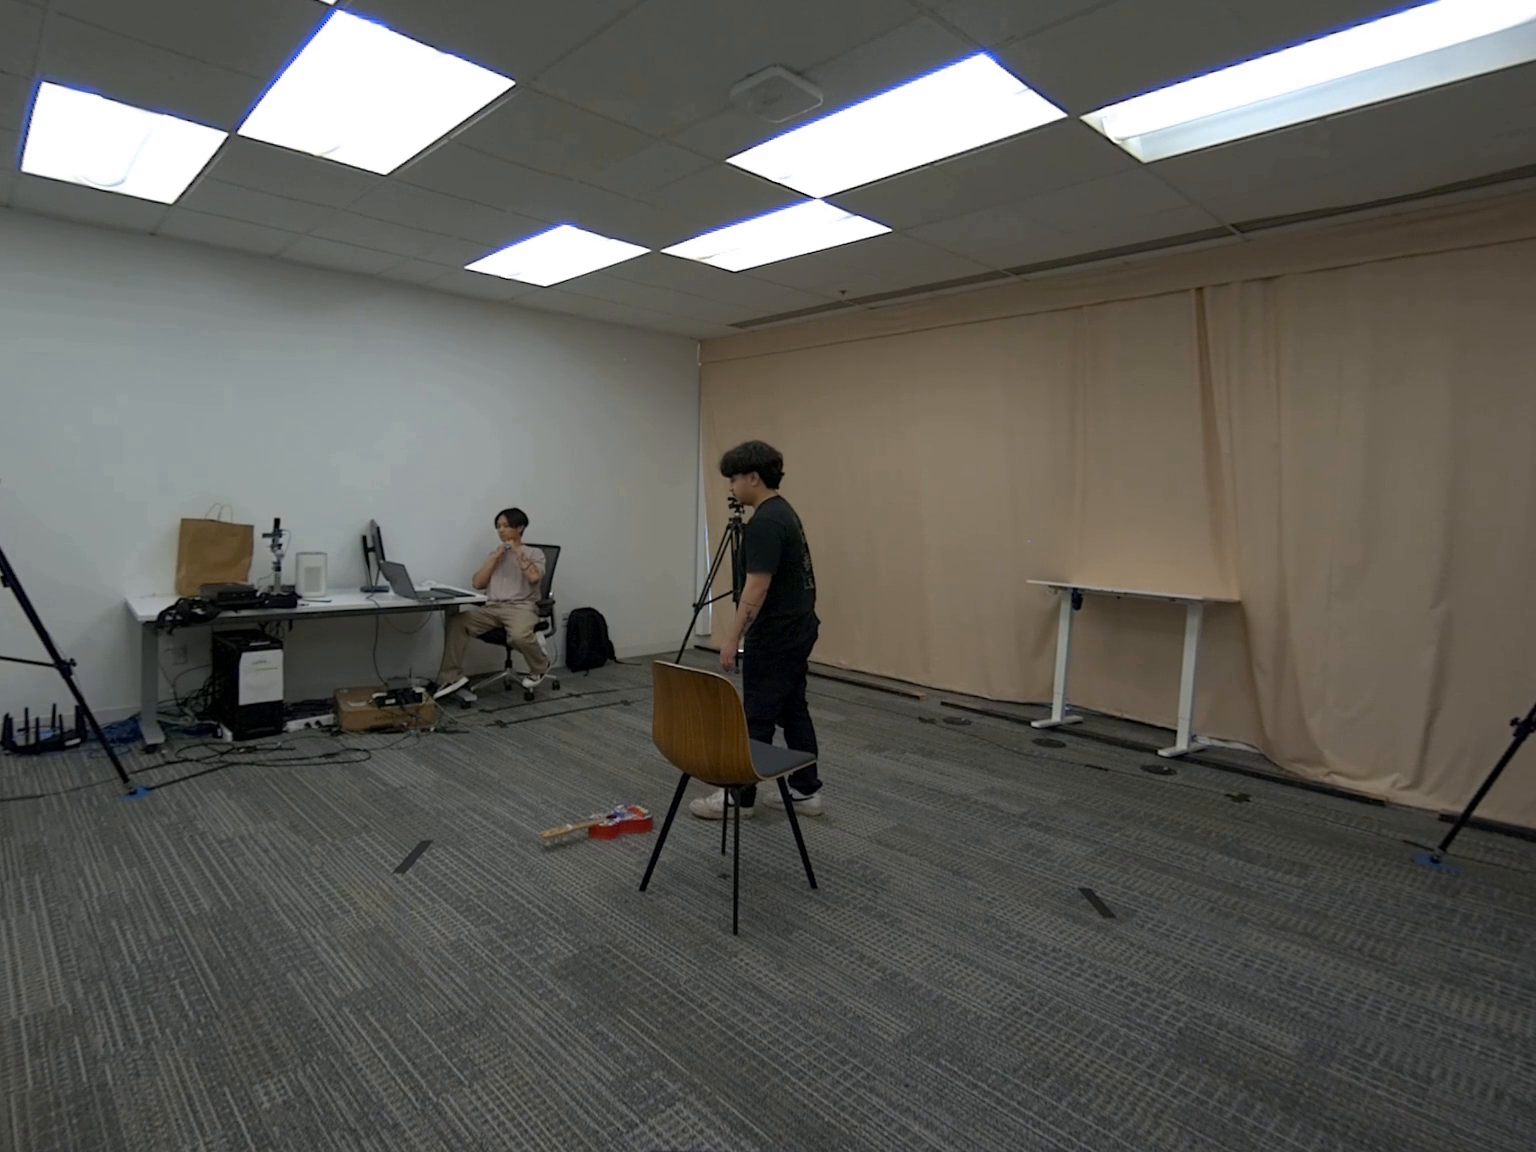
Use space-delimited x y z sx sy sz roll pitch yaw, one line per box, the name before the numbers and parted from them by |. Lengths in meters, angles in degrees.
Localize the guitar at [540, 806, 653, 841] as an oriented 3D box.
guitar | -0.731 1.028 3.473 0.487 0.070 0.198 -2 6 -33
